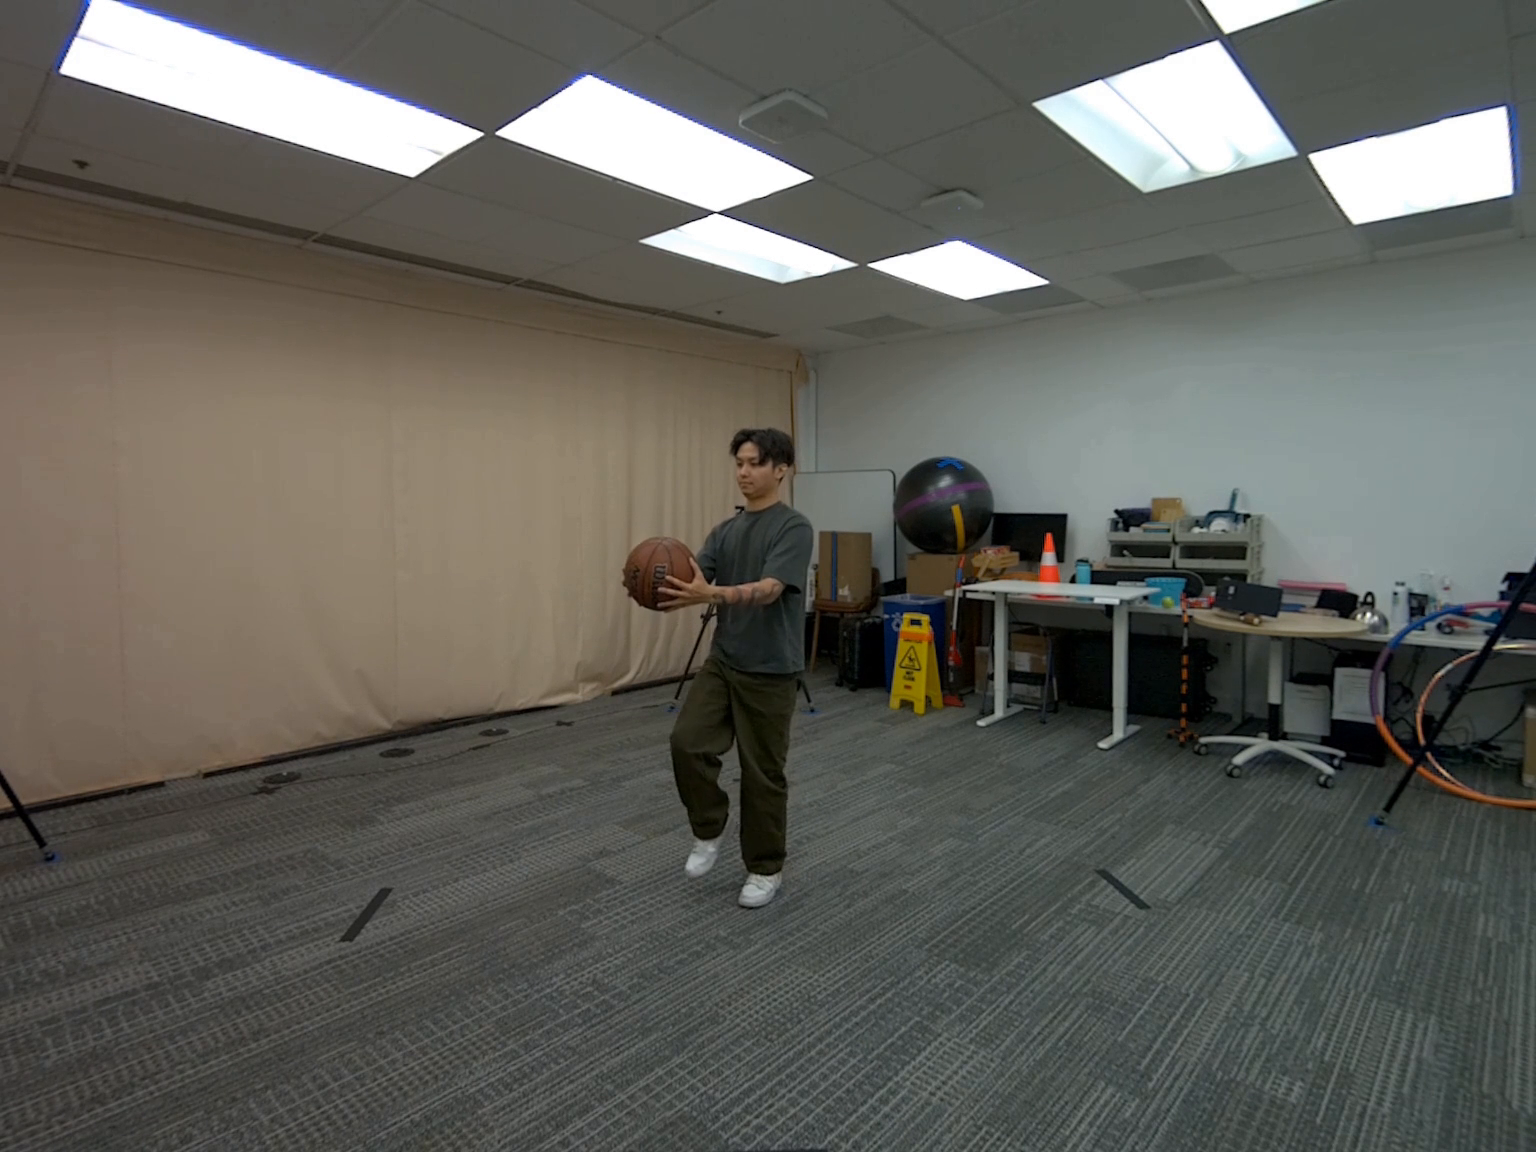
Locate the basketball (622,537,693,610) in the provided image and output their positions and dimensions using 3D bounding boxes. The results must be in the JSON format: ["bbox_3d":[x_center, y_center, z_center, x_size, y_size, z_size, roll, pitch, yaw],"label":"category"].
[{"bbox_3d":[-0.343,-0.006,2.702,0.236,0.235,0.237,0,4,-2],"label":"basketball"}]
